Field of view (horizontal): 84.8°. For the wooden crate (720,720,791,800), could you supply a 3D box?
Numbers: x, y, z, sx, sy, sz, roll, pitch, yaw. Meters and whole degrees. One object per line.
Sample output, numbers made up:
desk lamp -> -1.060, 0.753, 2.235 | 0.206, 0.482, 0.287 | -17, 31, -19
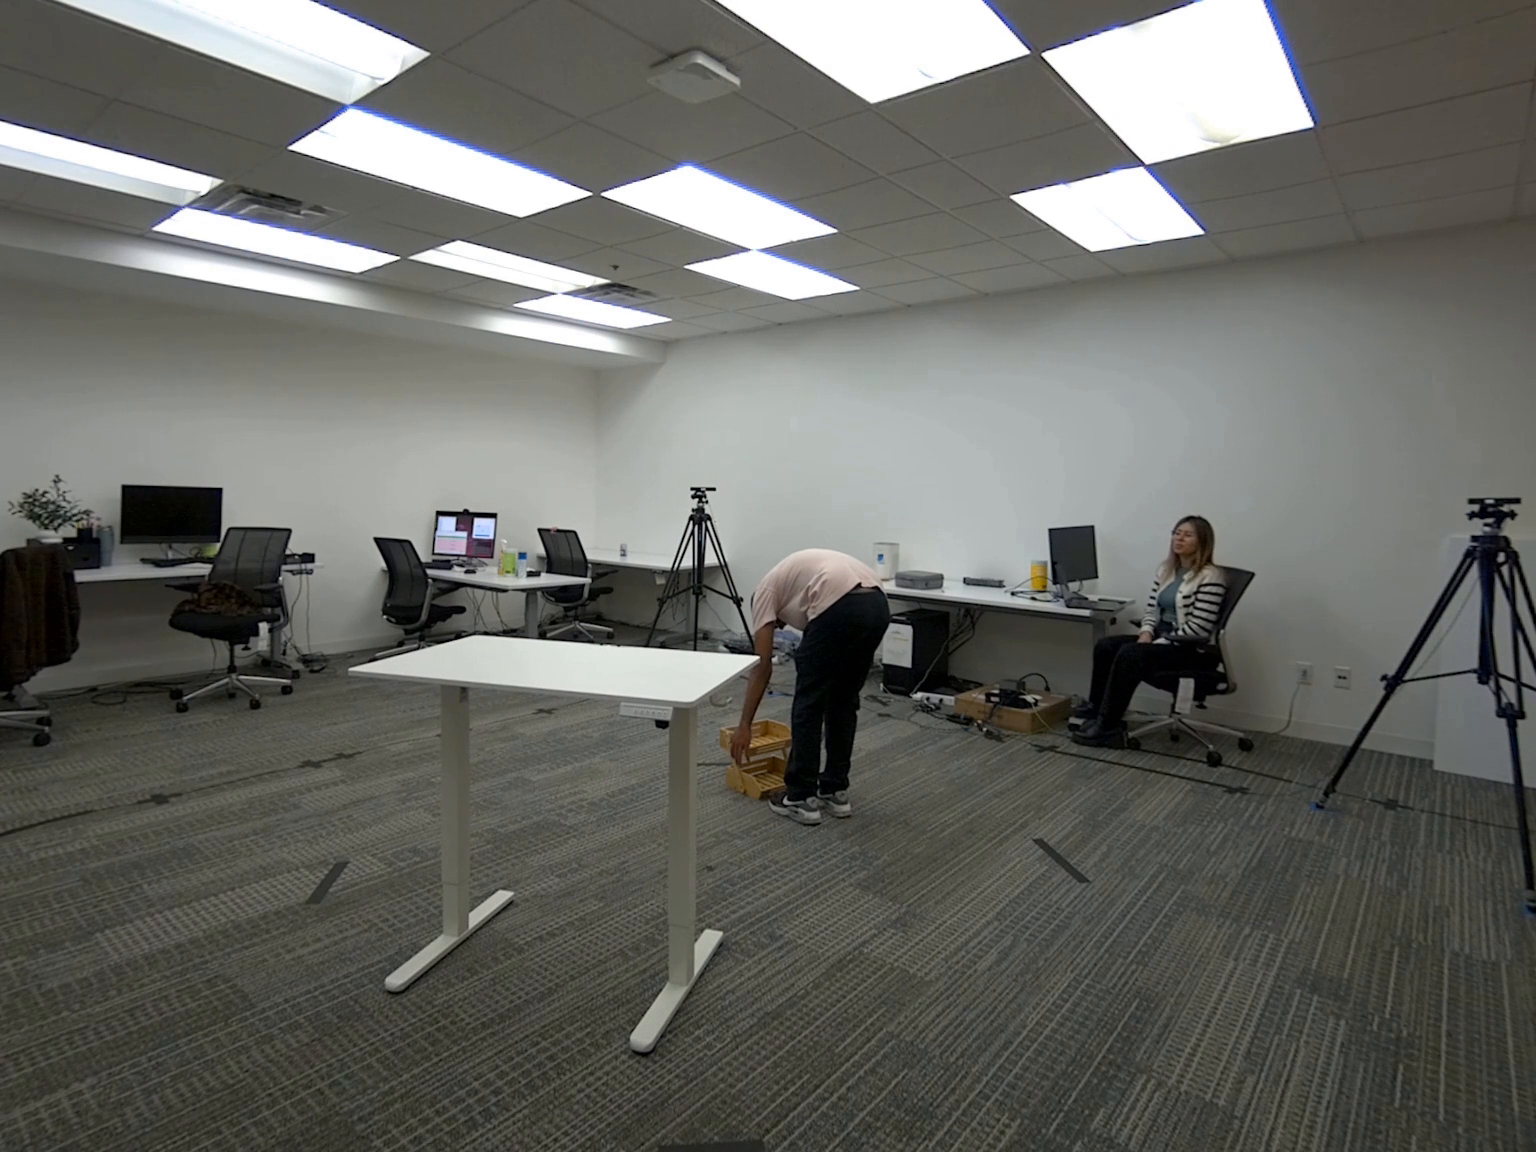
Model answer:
wooden crate -> -0.027, 0.849, 4.008 | 0.315, 0.272, 0.312 | -3, 6, -40
